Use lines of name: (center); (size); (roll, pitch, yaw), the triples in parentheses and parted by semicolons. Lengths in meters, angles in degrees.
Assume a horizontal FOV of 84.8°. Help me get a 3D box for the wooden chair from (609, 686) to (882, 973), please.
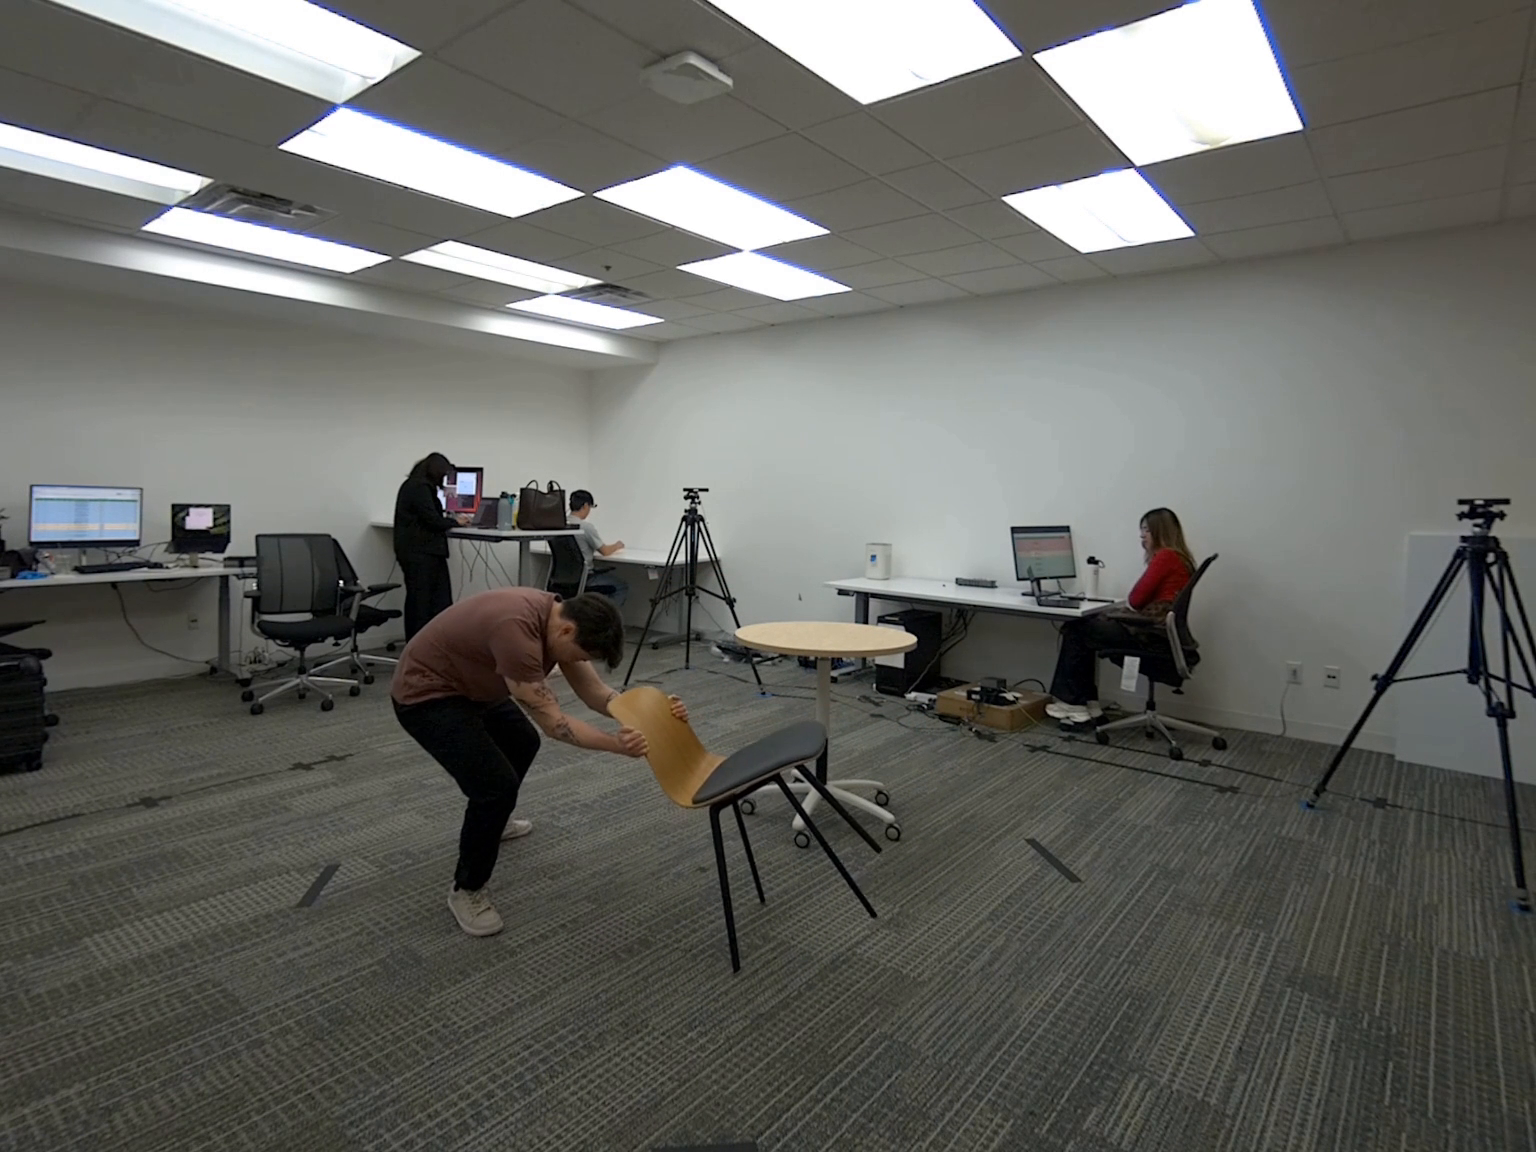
wooden chair: (-0.057, 0.640, 2.616); (0.526, 0.883, 0.473); (-32, -4, 13)
